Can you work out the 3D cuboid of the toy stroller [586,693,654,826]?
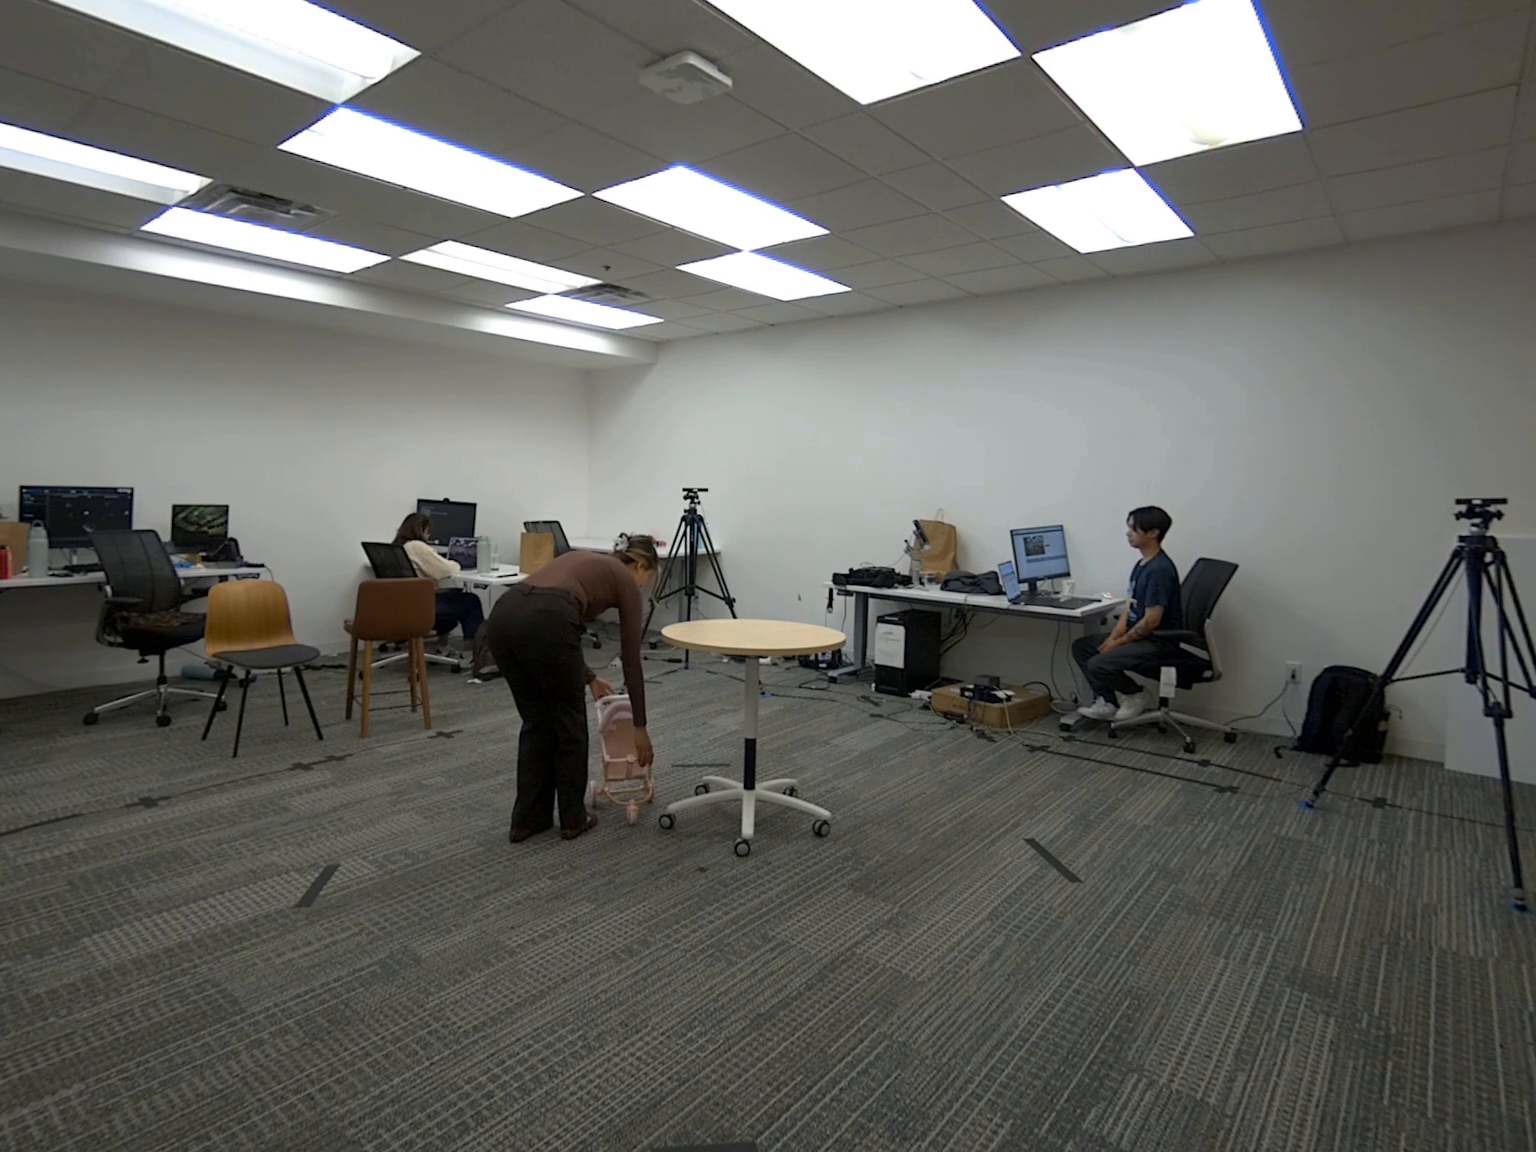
[{"bbox_3d":[-0.631,0.776,3.677,0.277,0.541,0.342,-1,-11,-14],"label":"toy stroller"}]
